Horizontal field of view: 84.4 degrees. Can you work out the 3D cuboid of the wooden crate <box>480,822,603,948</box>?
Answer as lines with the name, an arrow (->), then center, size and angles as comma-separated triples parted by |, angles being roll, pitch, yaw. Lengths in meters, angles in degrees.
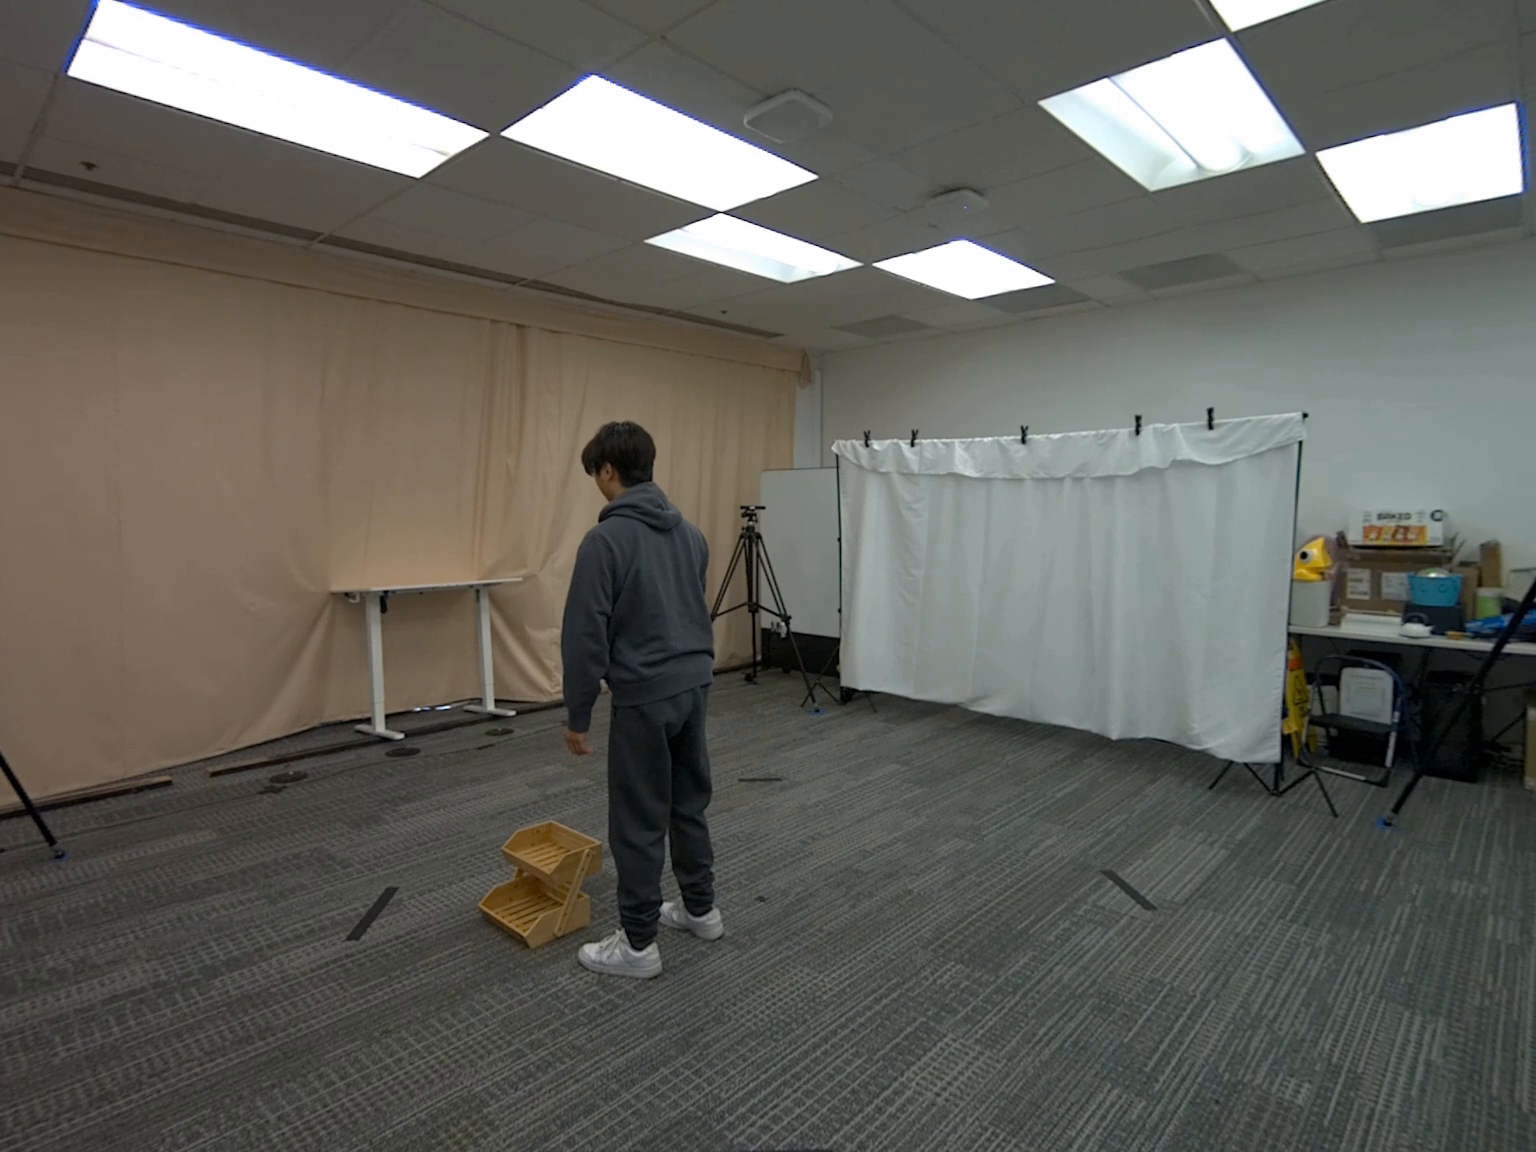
wooden crate -> -0.770, 1.028, 2.859 | 0.335, 0.273, 0.292 | 3, 4, 43
